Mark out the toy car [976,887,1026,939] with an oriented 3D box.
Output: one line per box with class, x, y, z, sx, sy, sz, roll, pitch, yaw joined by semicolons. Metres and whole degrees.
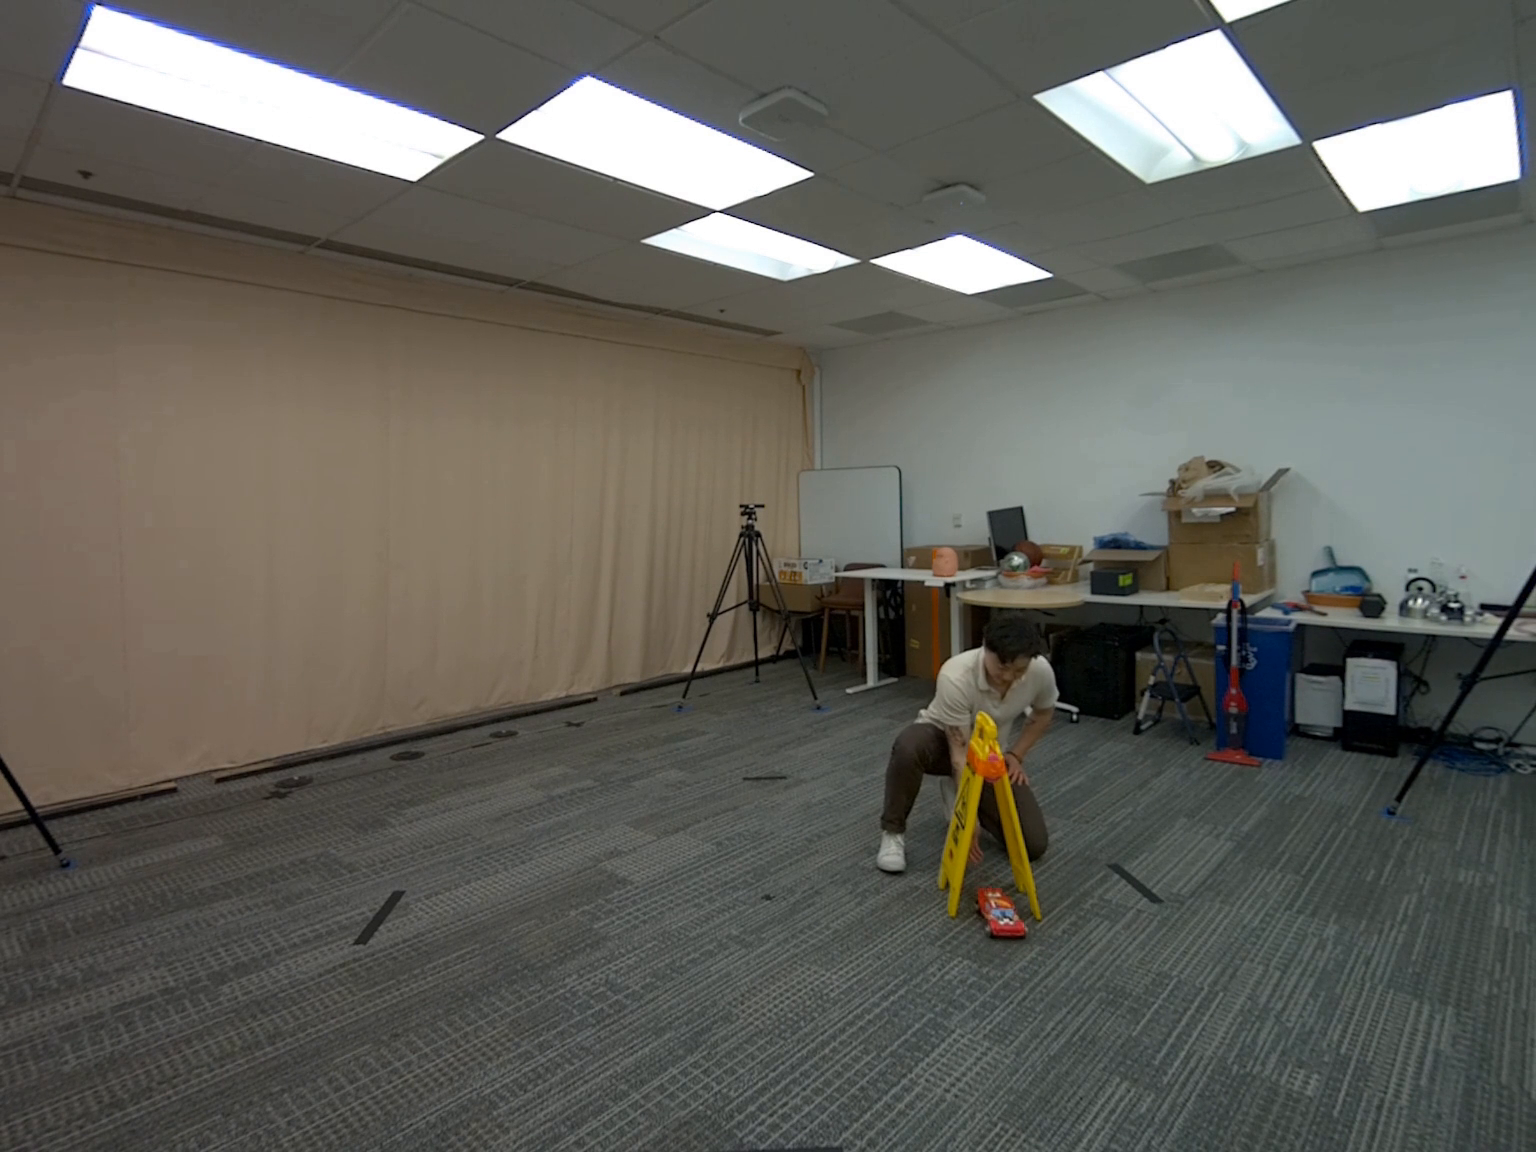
toy car;0.762;1.107;2.791;0.131;0.082;0.256;-2;14;2
